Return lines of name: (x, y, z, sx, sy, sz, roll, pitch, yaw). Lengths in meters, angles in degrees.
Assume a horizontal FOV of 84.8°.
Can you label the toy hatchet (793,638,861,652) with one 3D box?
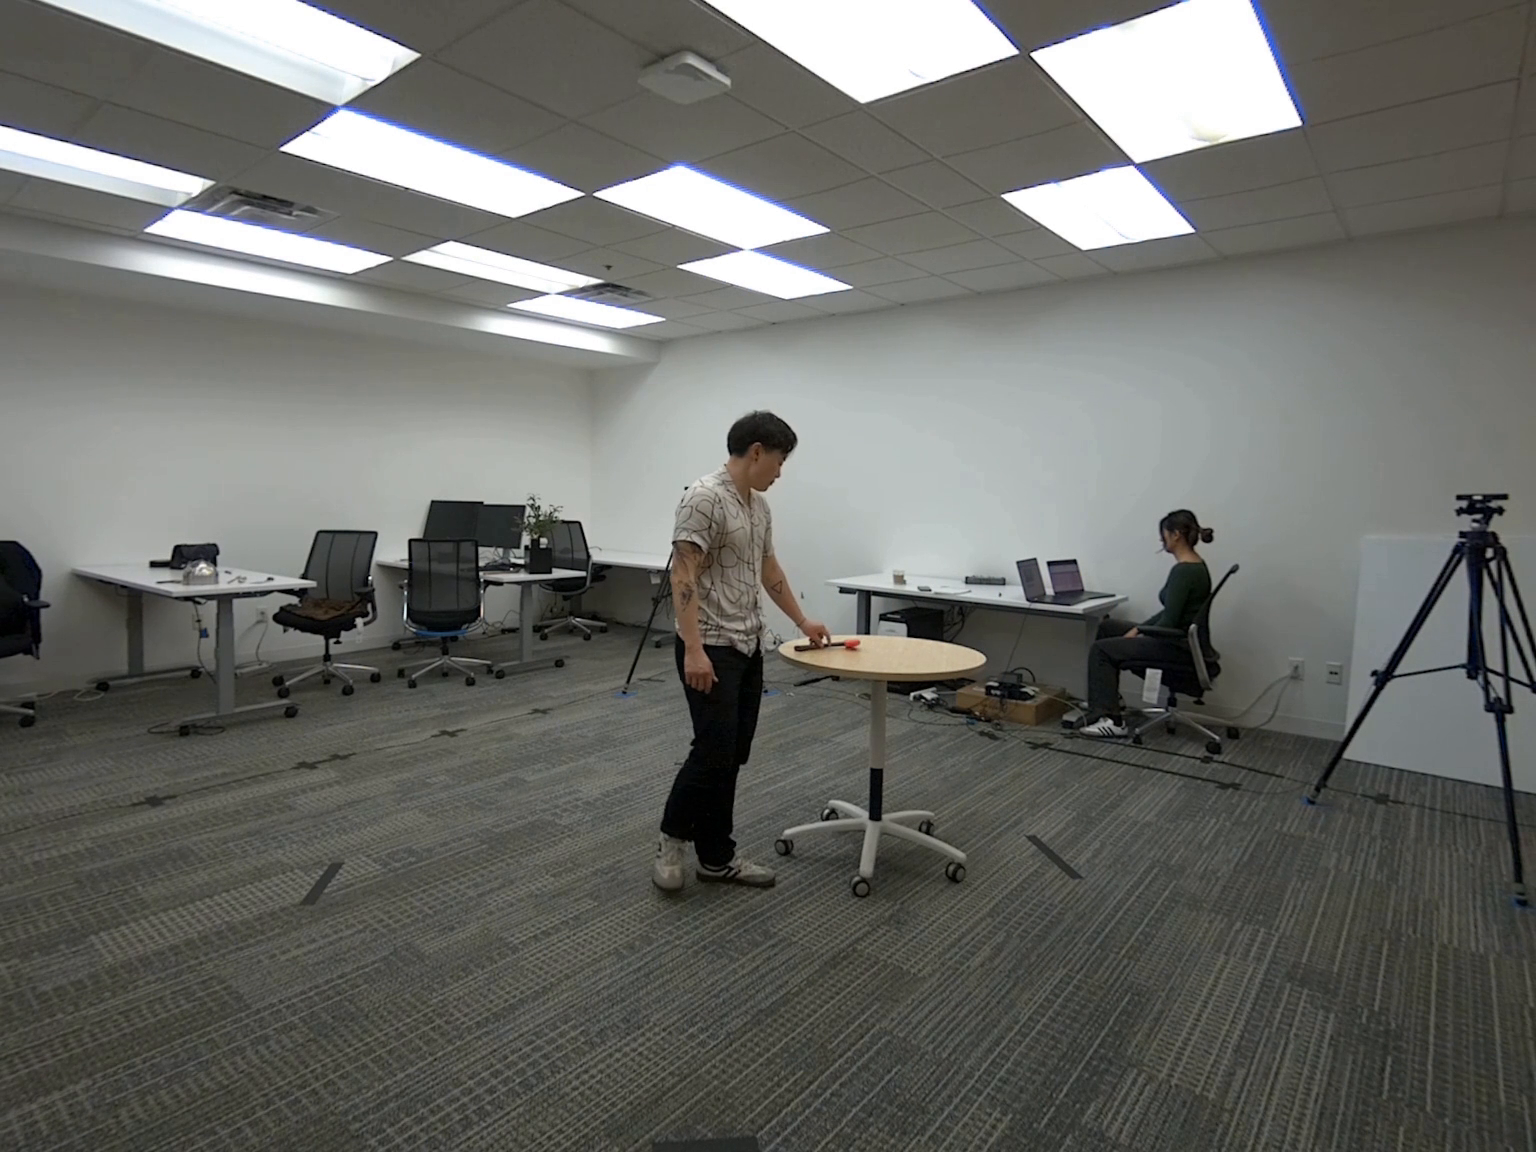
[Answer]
toy hatchet: (0.234, 0.261, 3.230, 0.262, 0.030, 0.133, -3, -8, -34)
